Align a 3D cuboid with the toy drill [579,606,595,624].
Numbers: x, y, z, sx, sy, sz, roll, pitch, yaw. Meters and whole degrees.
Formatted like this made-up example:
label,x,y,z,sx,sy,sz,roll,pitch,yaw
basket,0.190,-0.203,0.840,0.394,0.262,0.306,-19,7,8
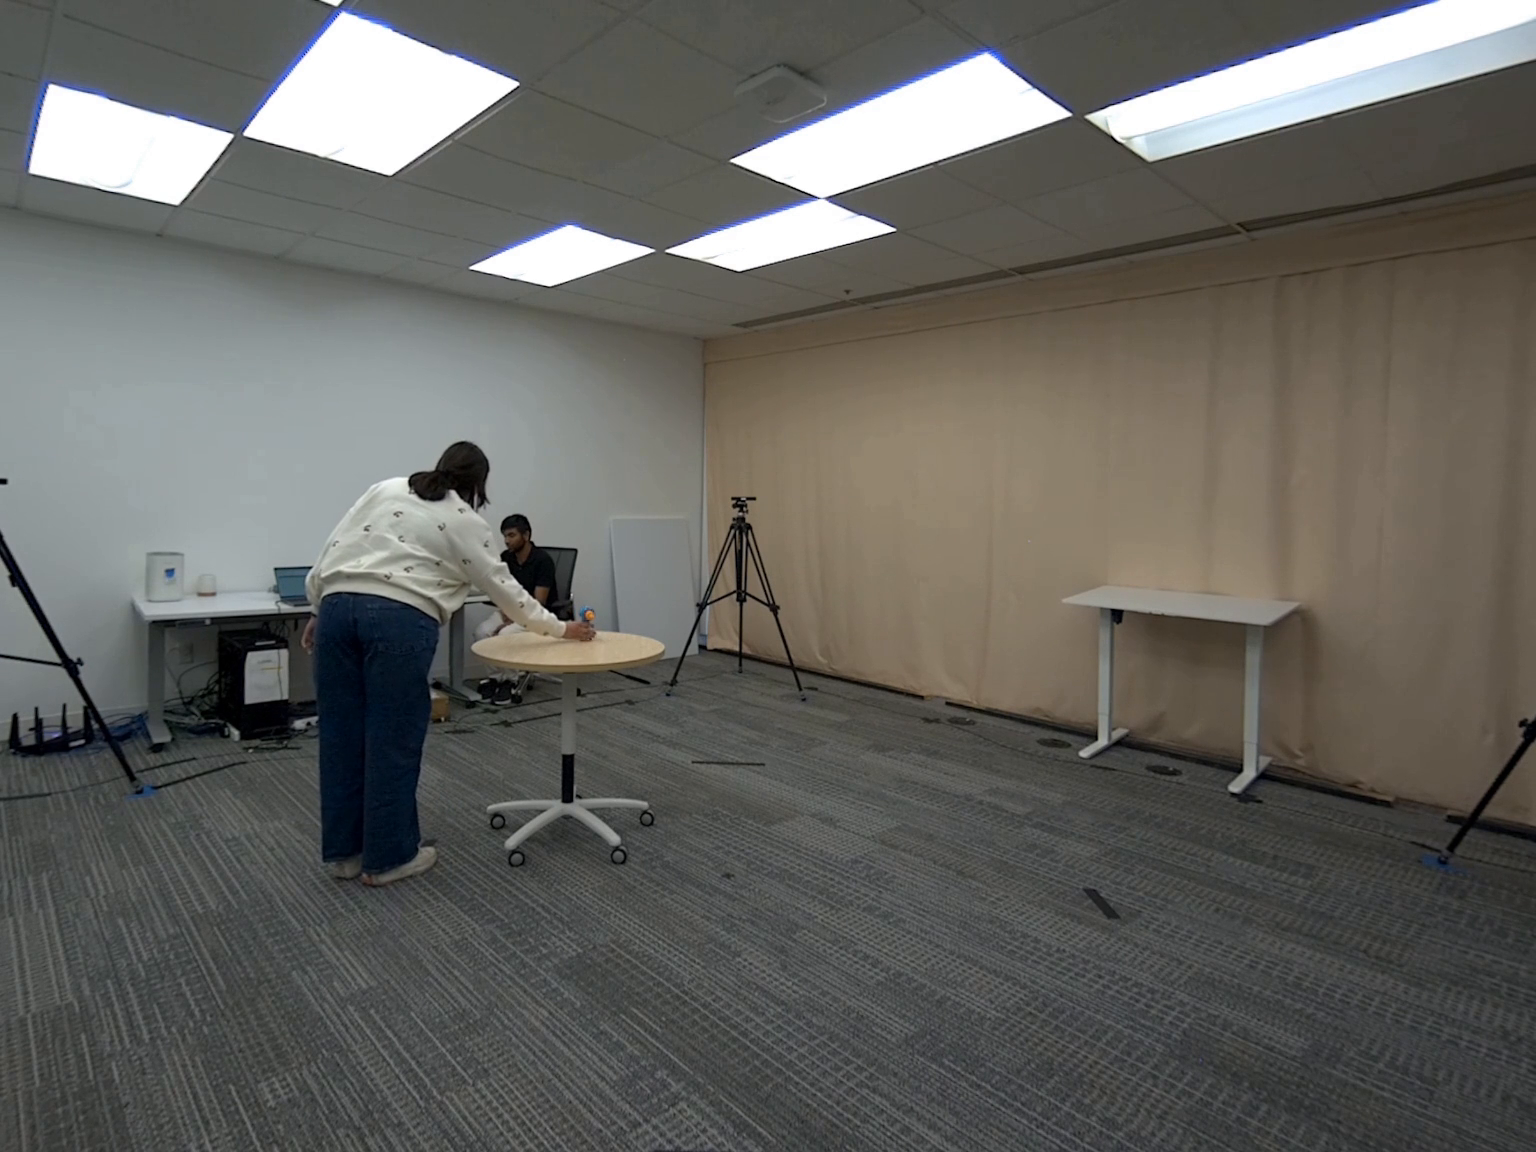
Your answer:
label,x,y,z,sx,sy,sz,roll,pitch,yaw
toy drill,-0.762,0.199,3.515,0.060,0.145,0.173,2,5,-25
